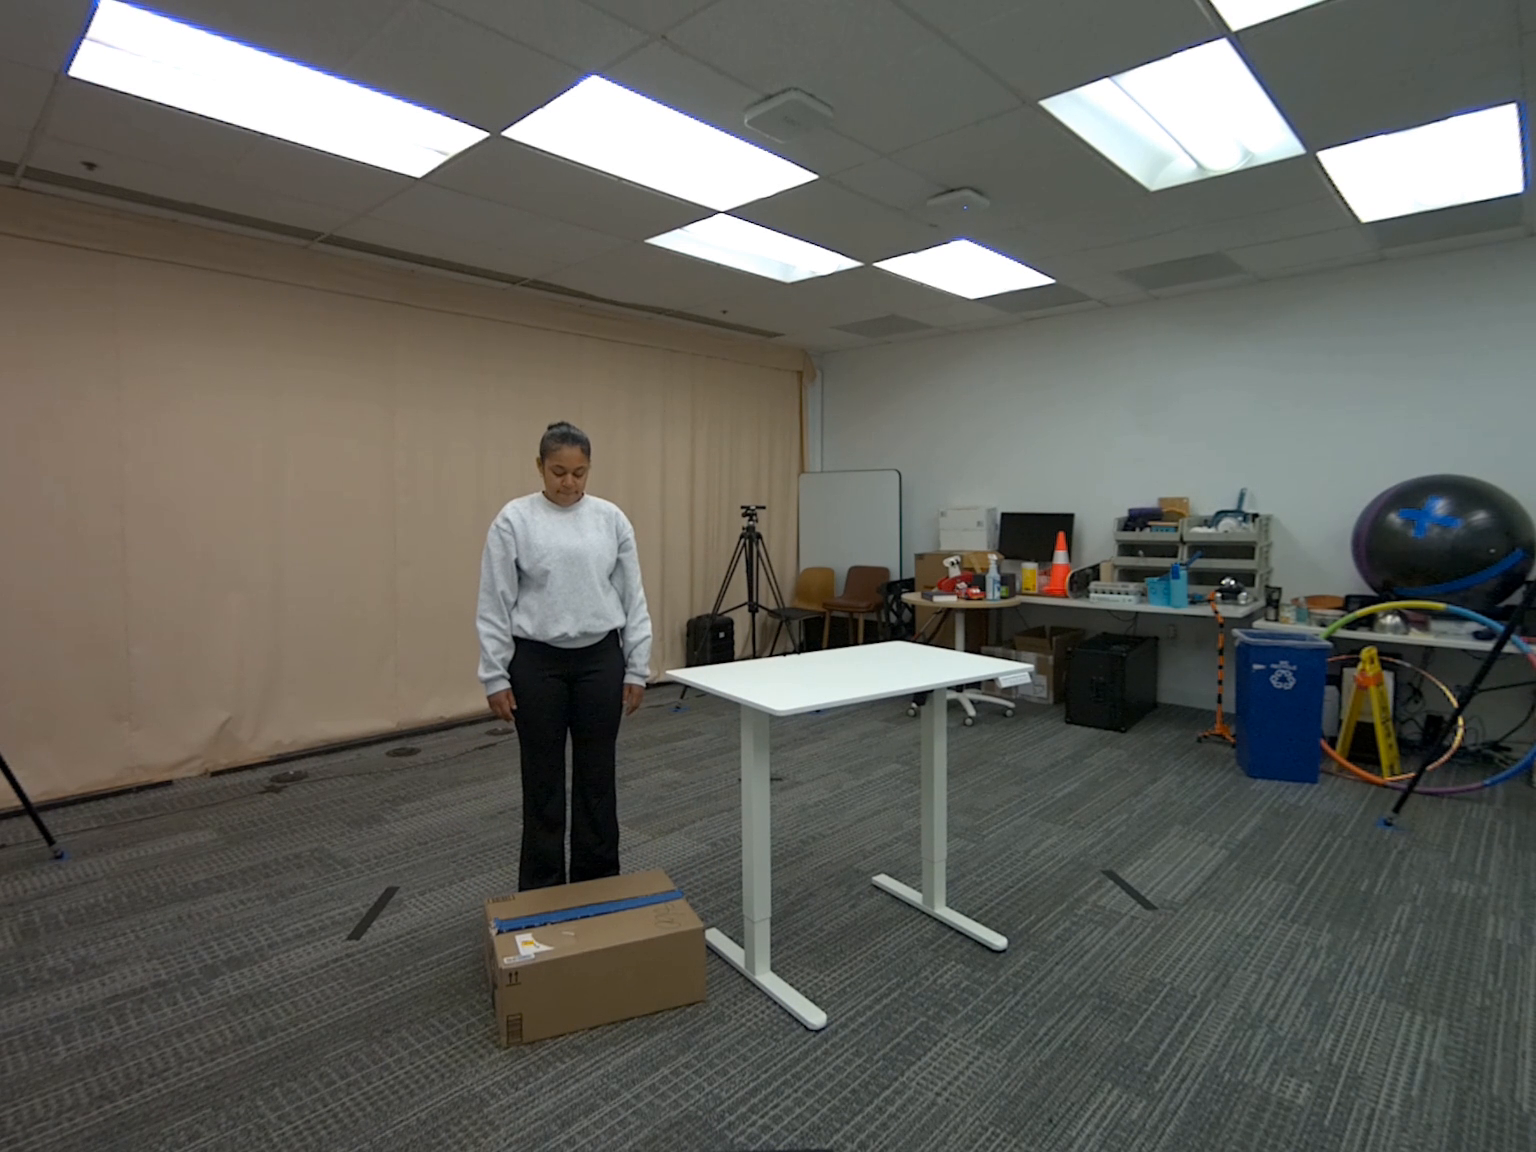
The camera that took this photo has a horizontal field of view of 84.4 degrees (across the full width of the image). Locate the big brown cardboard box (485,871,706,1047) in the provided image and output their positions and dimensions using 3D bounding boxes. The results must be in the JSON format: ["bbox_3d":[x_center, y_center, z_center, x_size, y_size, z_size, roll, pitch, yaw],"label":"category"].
[{"bbox_3d":[-0.514,1.084,2.440,0.576,0.233,0.428,-1,4,-23],"label":"big brown cardboard box"}]
